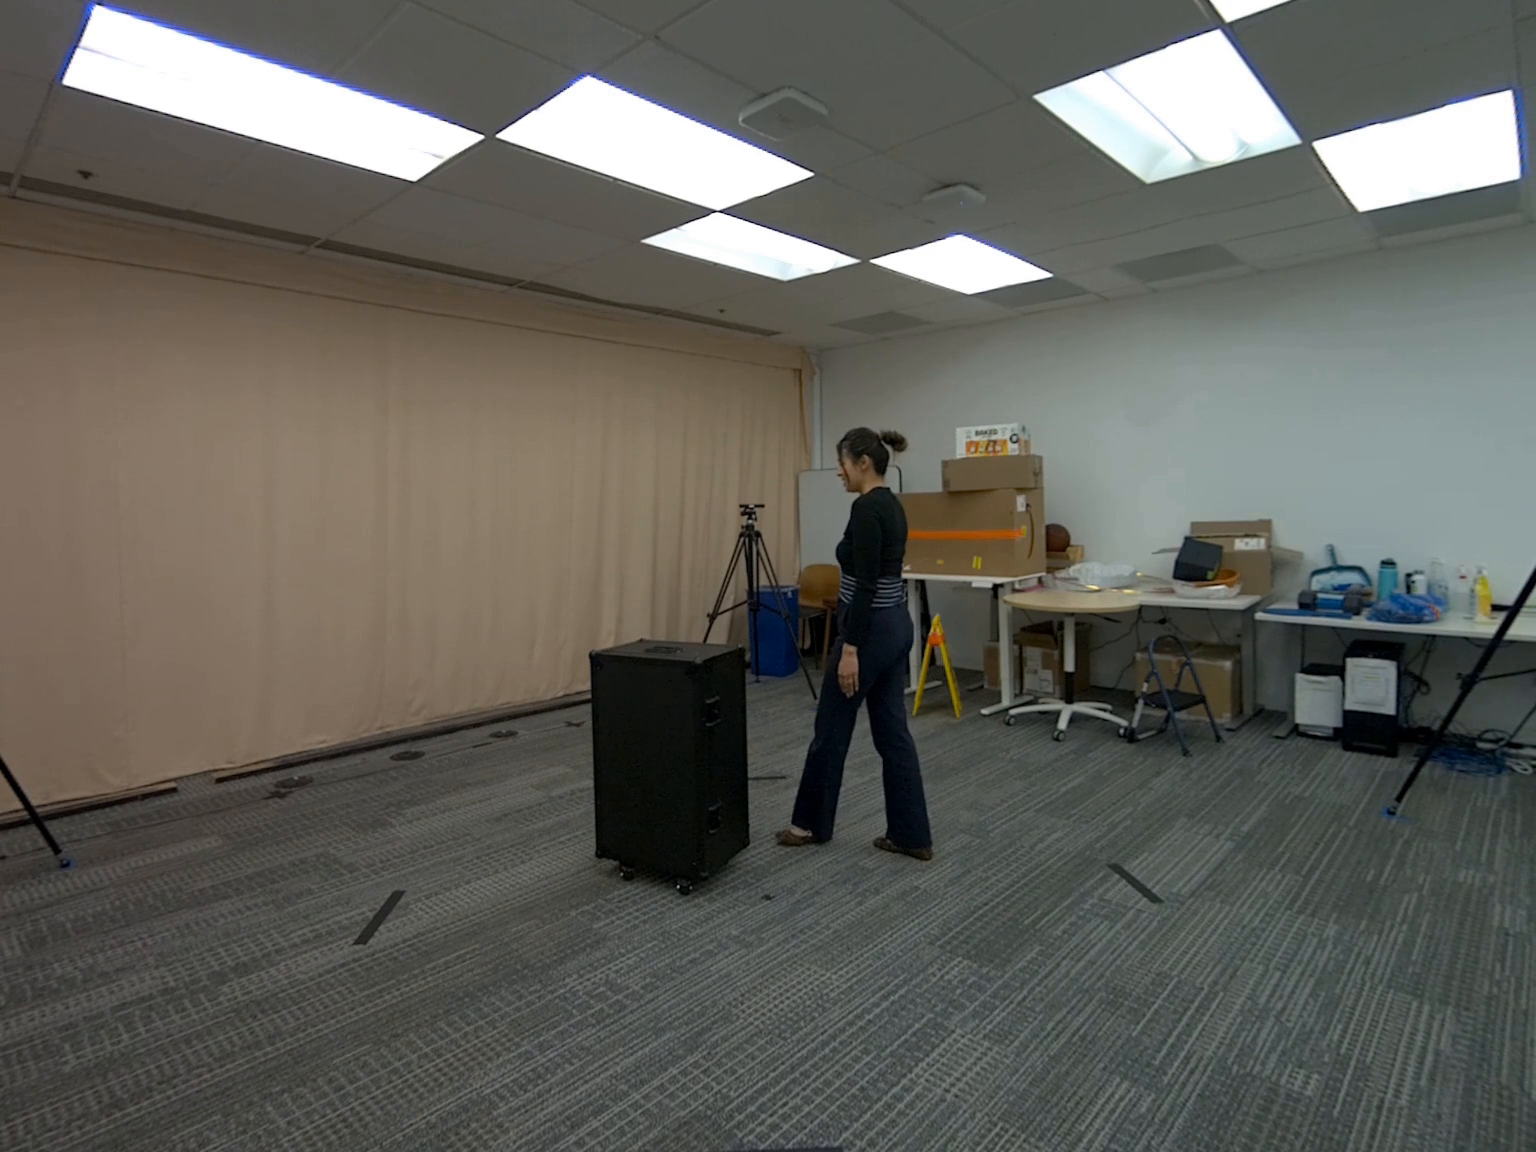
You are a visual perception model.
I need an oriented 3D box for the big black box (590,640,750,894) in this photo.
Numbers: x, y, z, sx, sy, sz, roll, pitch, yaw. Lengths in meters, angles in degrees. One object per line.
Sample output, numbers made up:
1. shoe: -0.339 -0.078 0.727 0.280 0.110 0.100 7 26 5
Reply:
1. big black box: -0.369 0.702 3.223 0.536 0.860 0.386 0 2 29
